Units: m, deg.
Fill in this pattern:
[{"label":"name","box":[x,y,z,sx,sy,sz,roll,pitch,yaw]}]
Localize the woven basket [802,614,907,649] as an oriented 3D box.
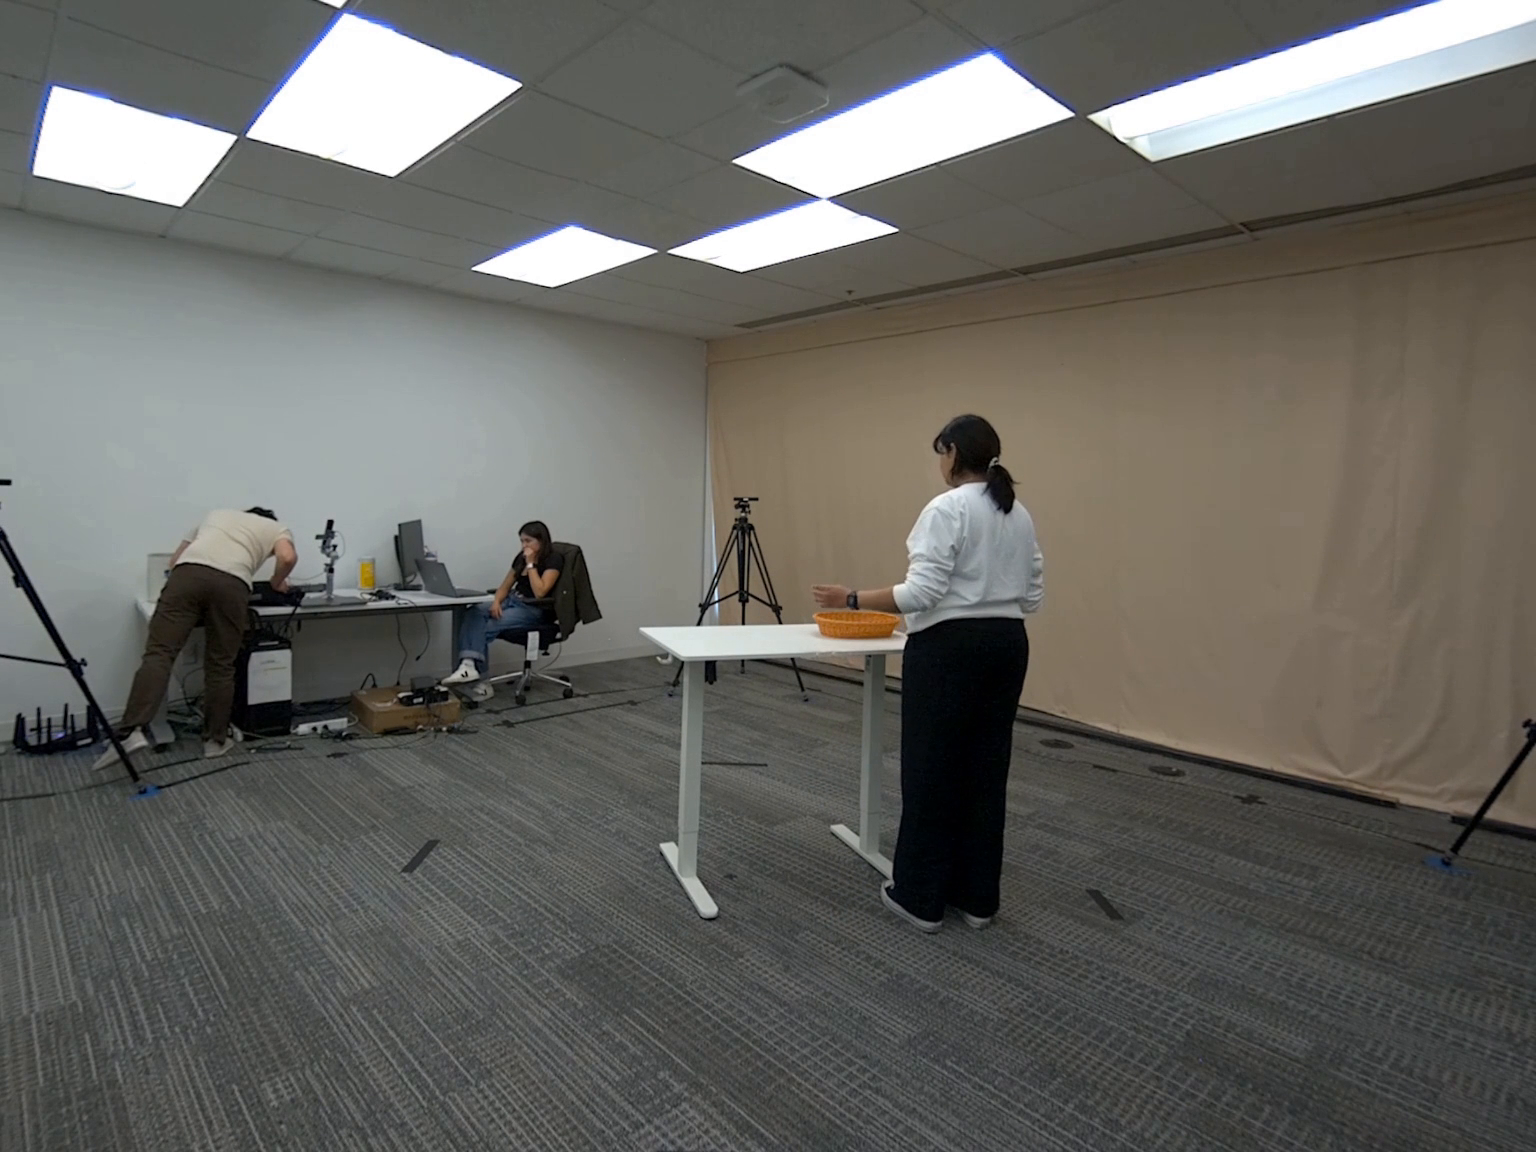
[{"label":"woven basket","box":[0.340,0.205,3.204,0.345,0.073,0.257,-1,6,-20]}]
